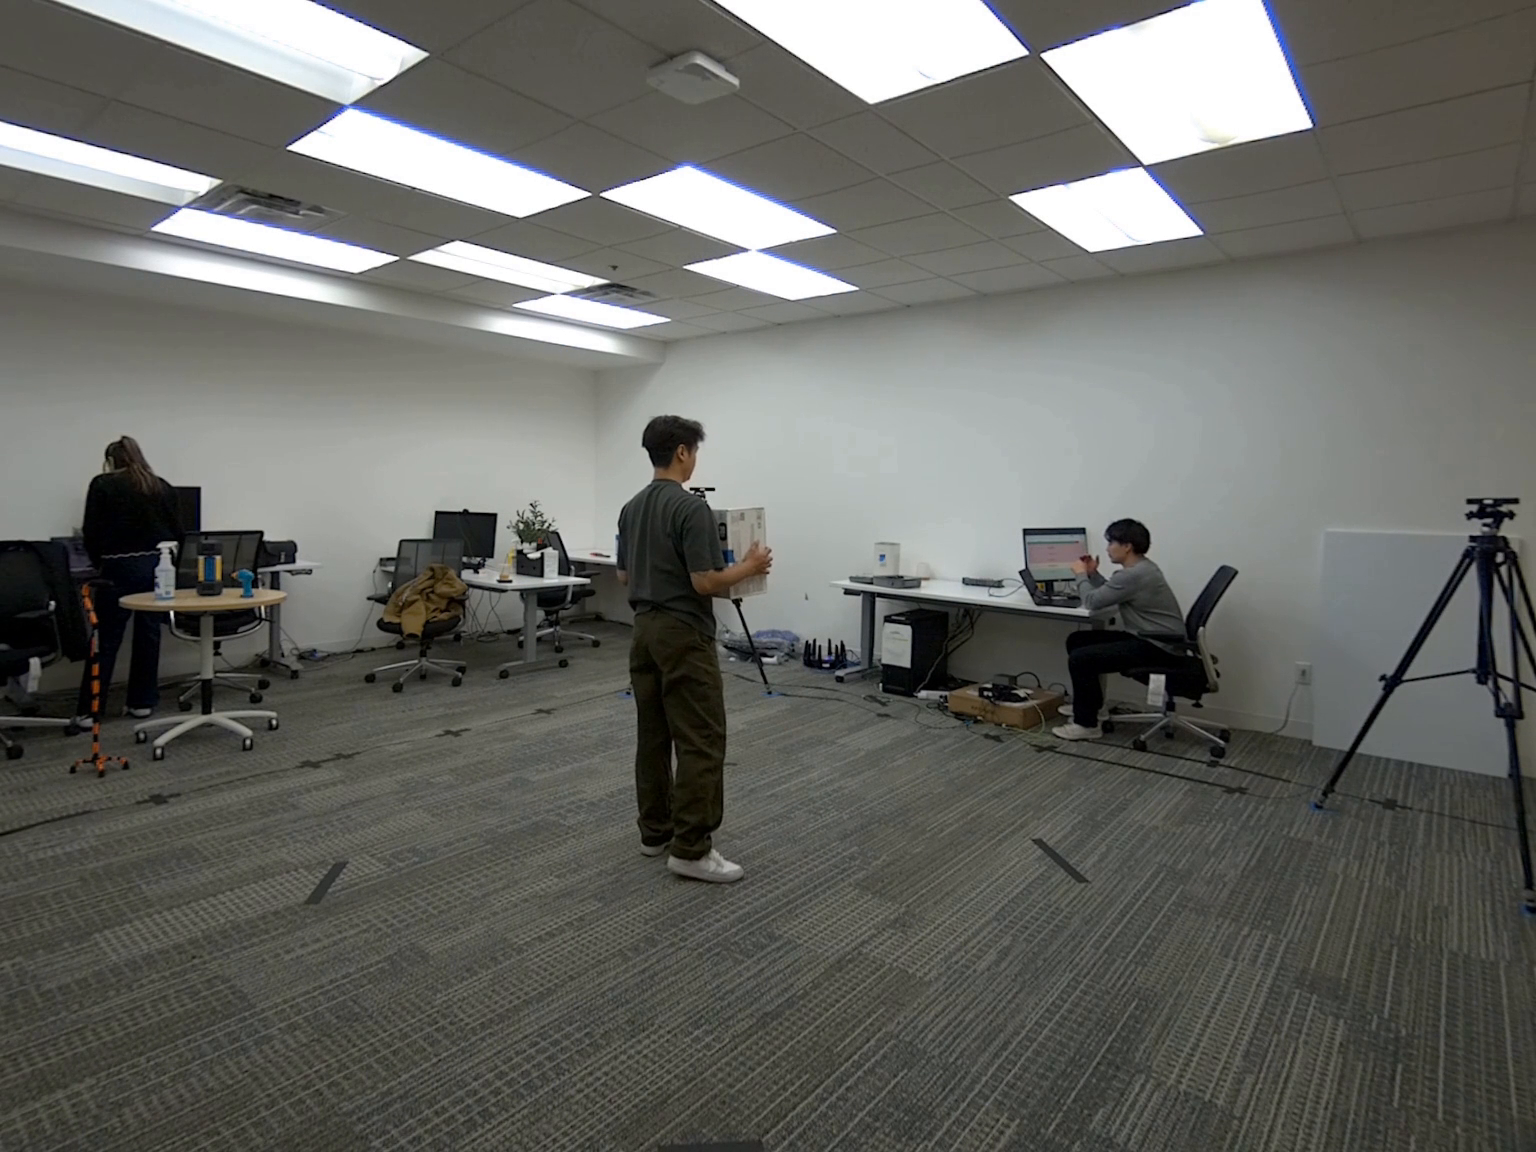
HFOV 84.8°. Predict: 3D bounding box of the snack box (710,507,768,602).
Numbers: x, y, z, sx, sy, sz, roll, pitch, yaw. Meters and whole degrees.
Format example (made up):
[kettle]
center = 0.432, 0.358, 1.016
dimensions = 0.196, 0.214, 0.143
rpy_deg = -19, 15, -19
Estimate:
[snack box]
center = -0.227, -0.101, 3.387
dimensions = 0.200, 0.339, 0.419
rpy_deg = -6, 7, -43
